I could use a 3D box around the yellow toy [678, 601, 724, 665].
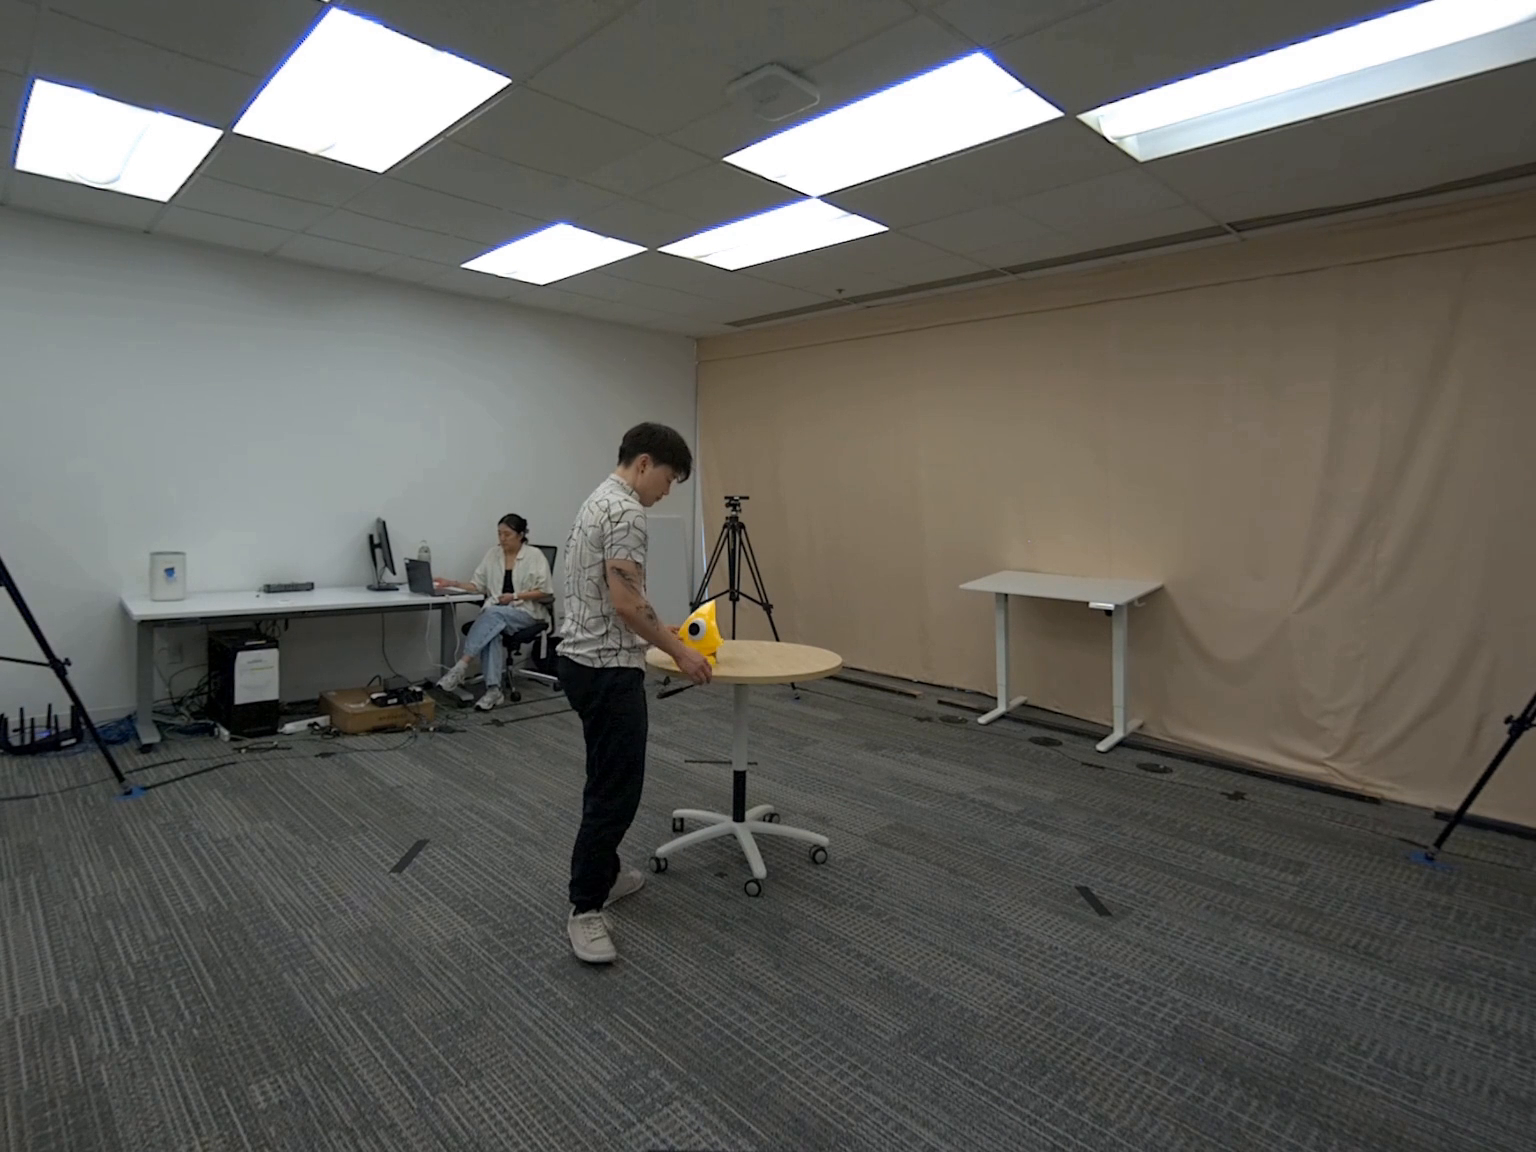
[{"bbox_3d":[-0.262,0.207,3.091,0.193,0.230,0.206,1,5,-3],"label":"yellow toy"}]
